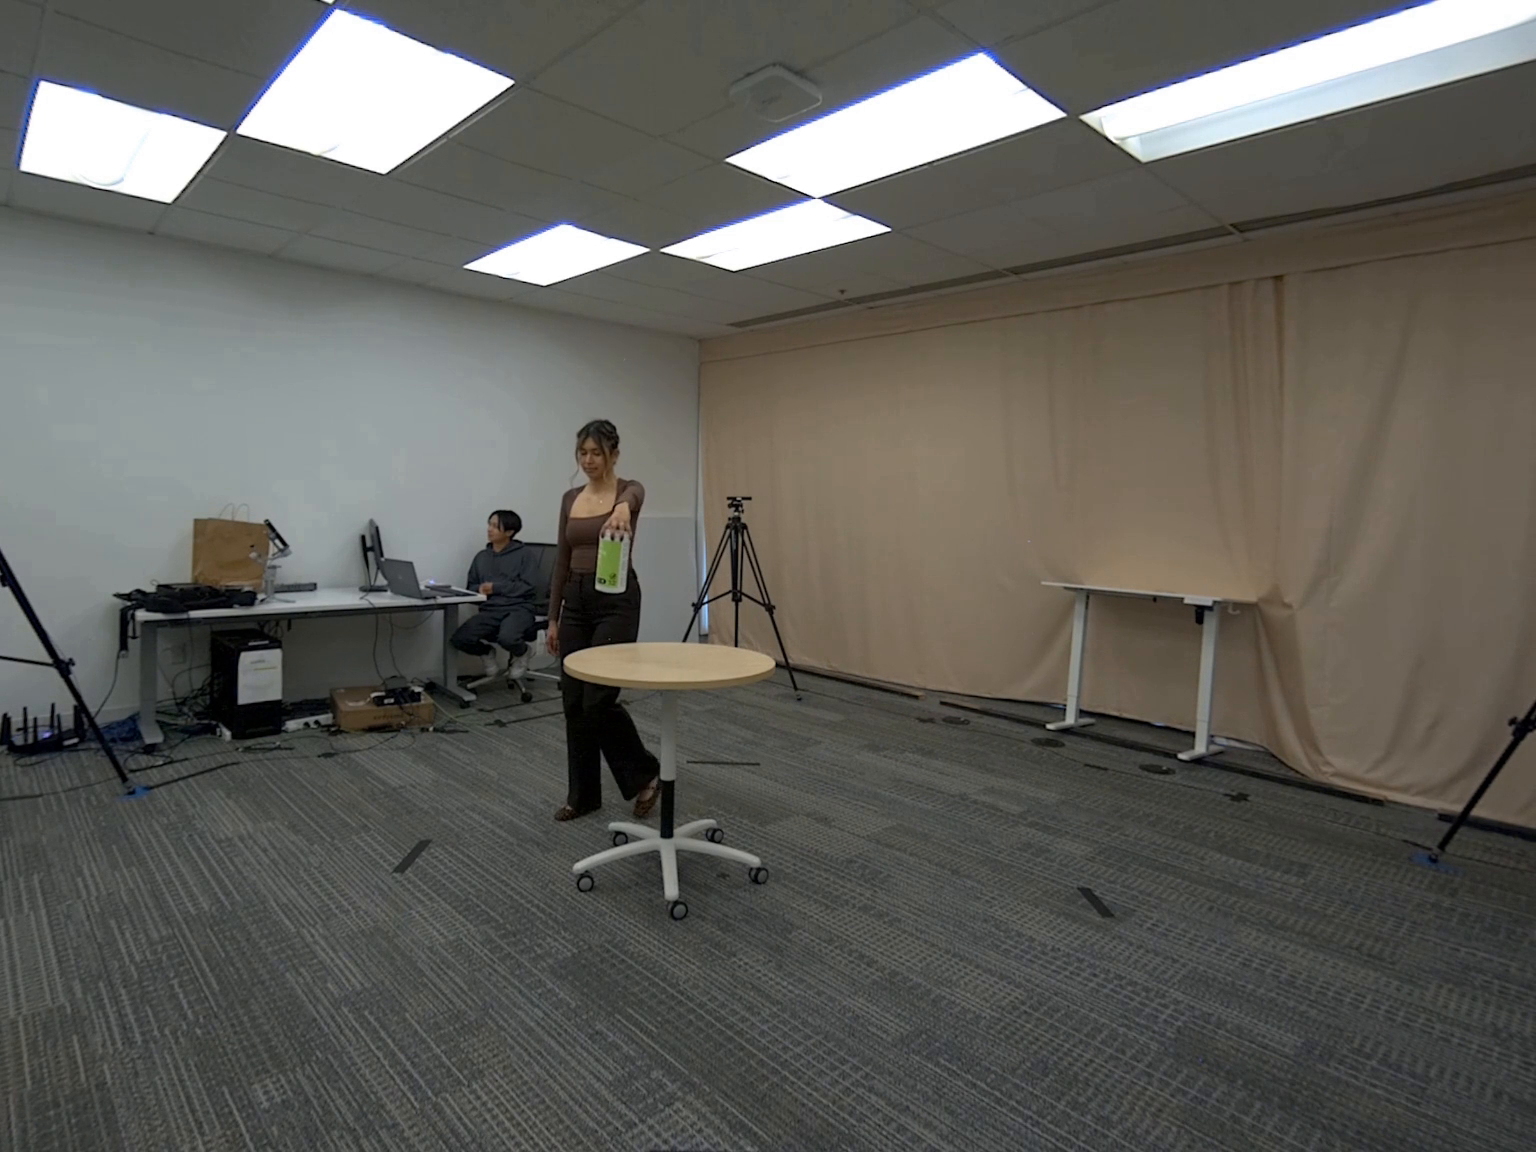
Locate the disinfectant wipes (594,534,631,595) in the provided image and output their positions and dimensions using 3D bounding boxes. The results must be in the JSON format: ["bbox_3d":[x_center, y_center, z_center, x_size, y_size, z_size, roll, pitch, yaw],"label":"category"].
[{"bbox_3d":[-0.561,-0.052,3.031,0.117,0.216,0.118,4,7,-2],"label":"disinfectant wipes"}]
